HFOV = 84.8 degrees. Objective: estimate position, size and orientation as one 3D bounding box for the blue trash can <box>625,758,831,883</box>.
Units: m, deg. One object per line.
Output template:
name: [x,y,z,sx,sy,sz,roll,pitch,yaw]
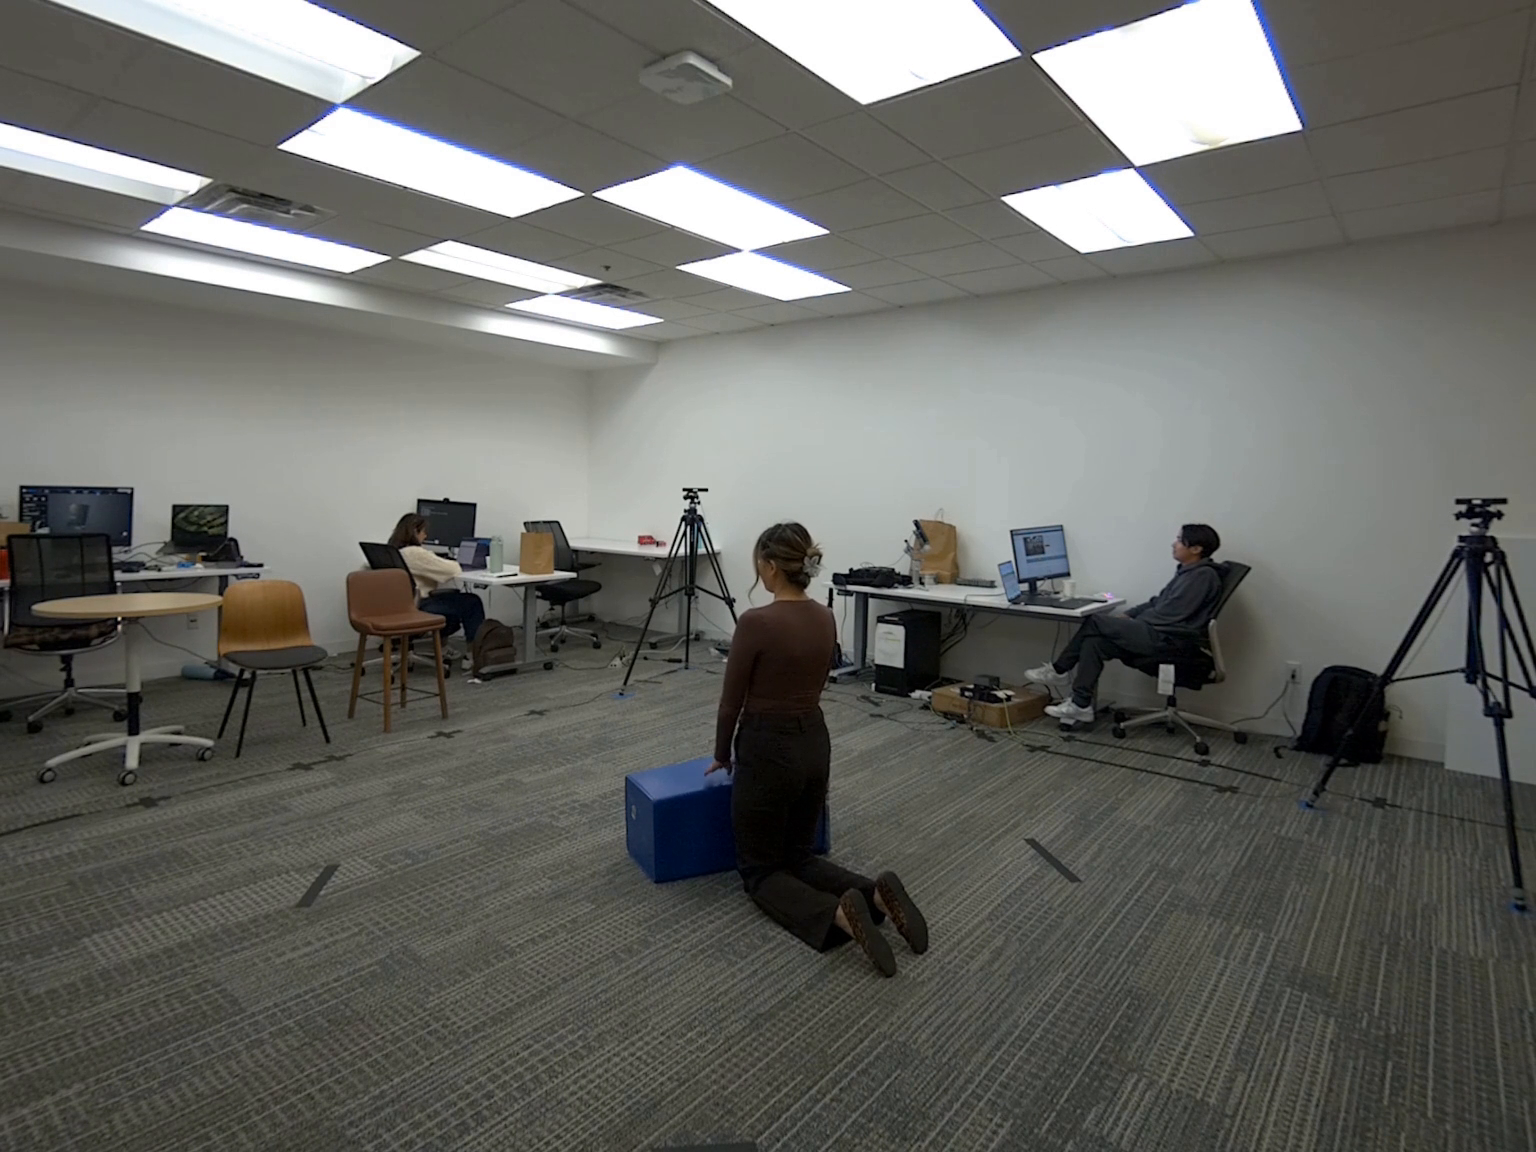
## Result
blue trash can: [-0.172,0.882,3.256,0.697,0.376,0.385,-3,6,-26]
